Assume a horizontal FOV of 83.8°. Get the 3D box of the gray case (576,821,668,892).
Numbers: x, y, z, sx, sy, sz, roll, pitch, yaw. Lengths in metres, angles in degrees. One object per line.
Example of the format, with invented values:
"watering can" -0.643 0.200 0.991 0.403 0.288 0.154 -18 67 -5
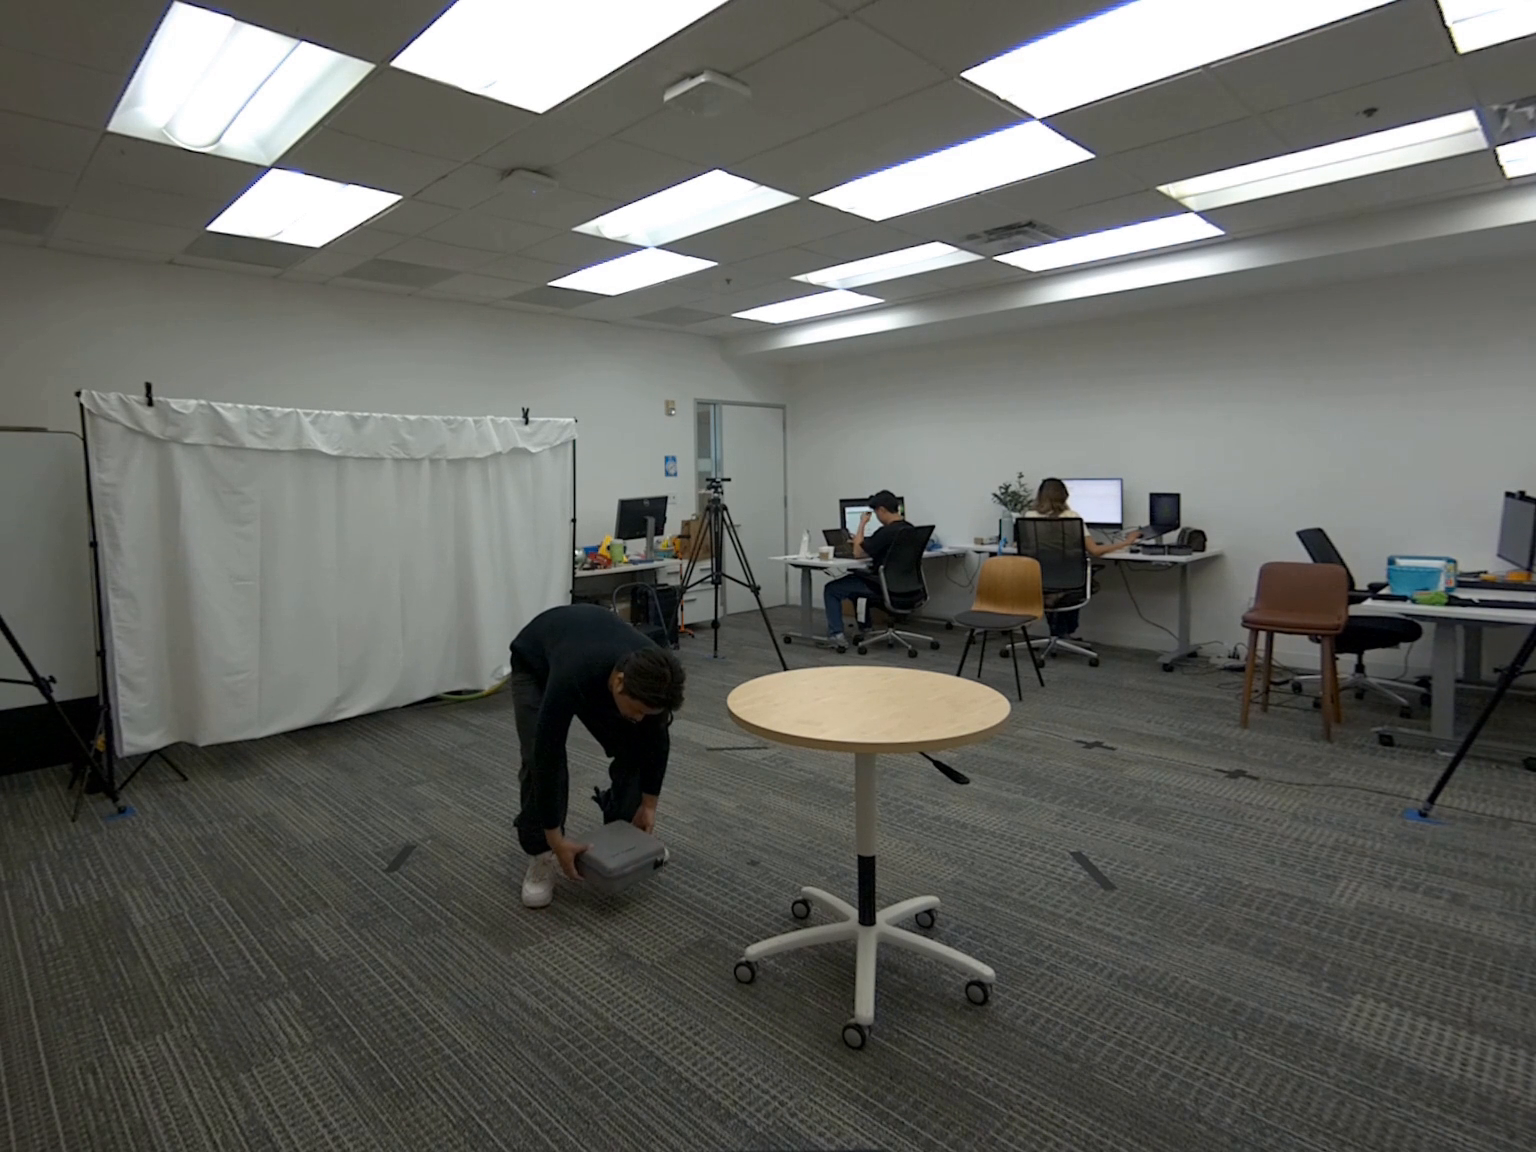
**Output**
"gray case" -0.517 0.932 2.850 0.269 0.103 0.250 11 14 42
